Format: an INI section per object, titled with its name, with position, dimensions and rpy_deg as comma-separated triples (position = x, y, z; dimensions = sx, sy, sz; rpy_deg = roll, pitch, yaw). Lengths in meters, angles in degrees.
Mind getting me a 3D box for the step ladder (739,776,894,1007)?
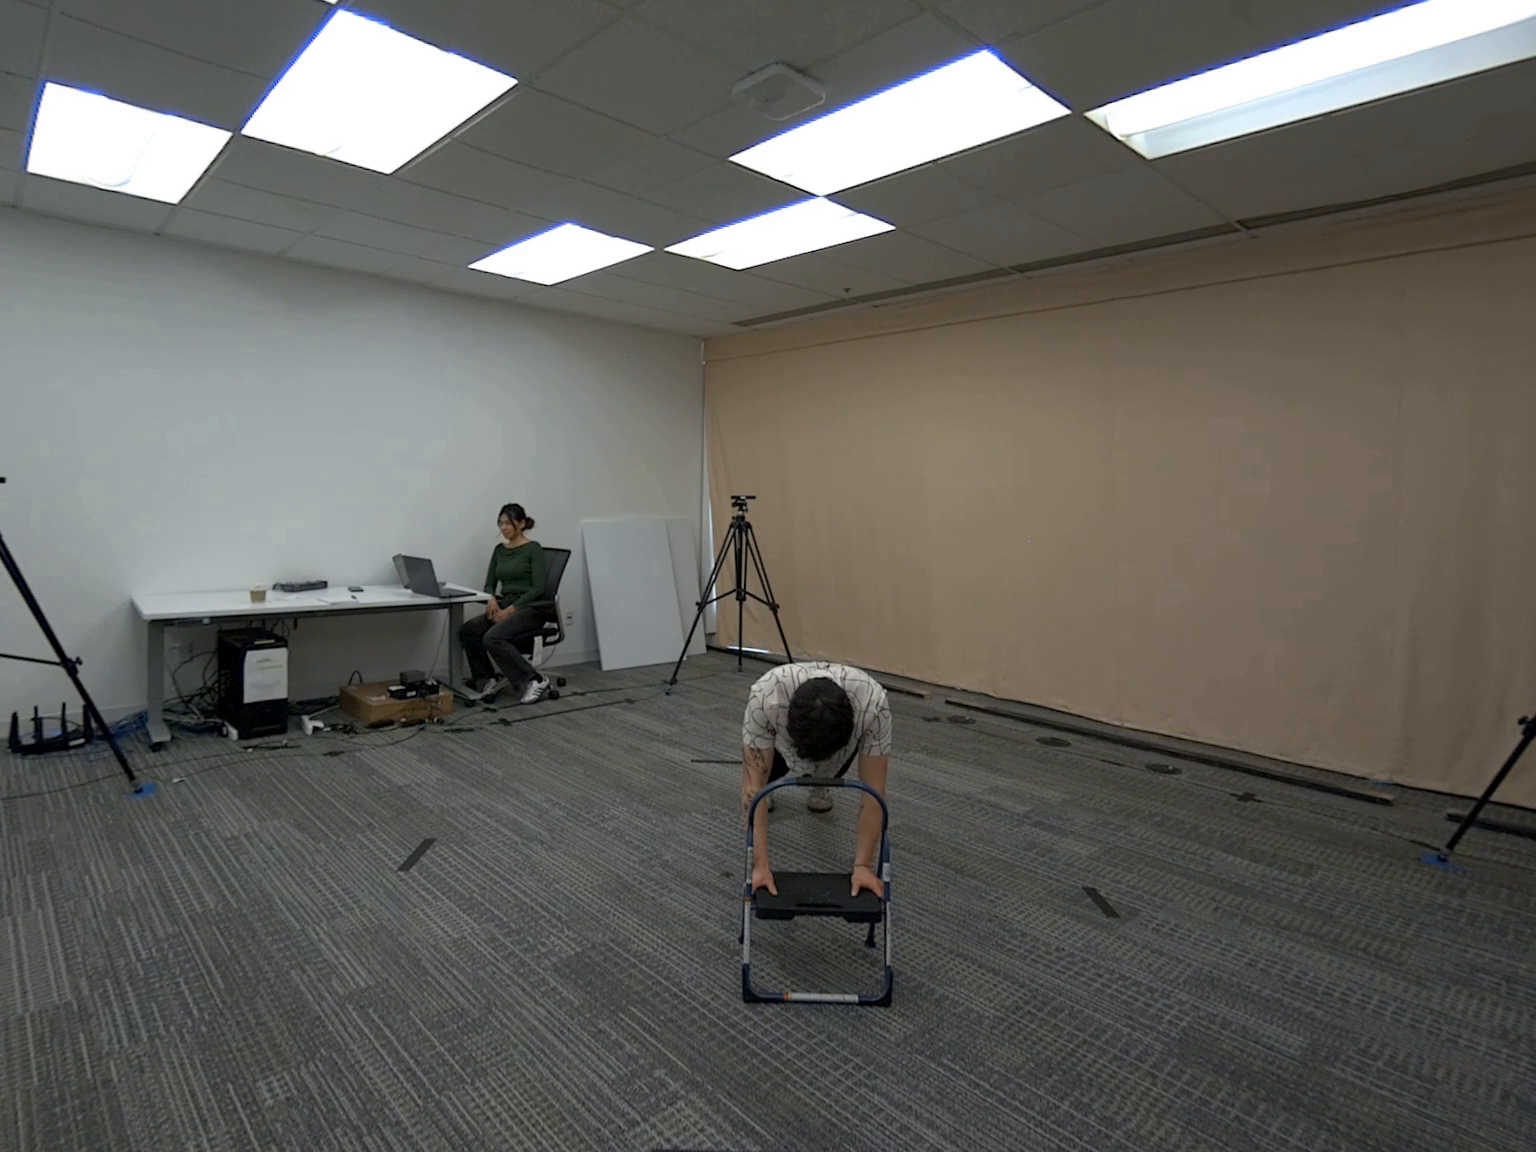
[step ladder]
position = 0.132, 0.870, 2.463
dimensions = 0.430, 0.604, 0.350
rpy_deg = 1, 3, -1
